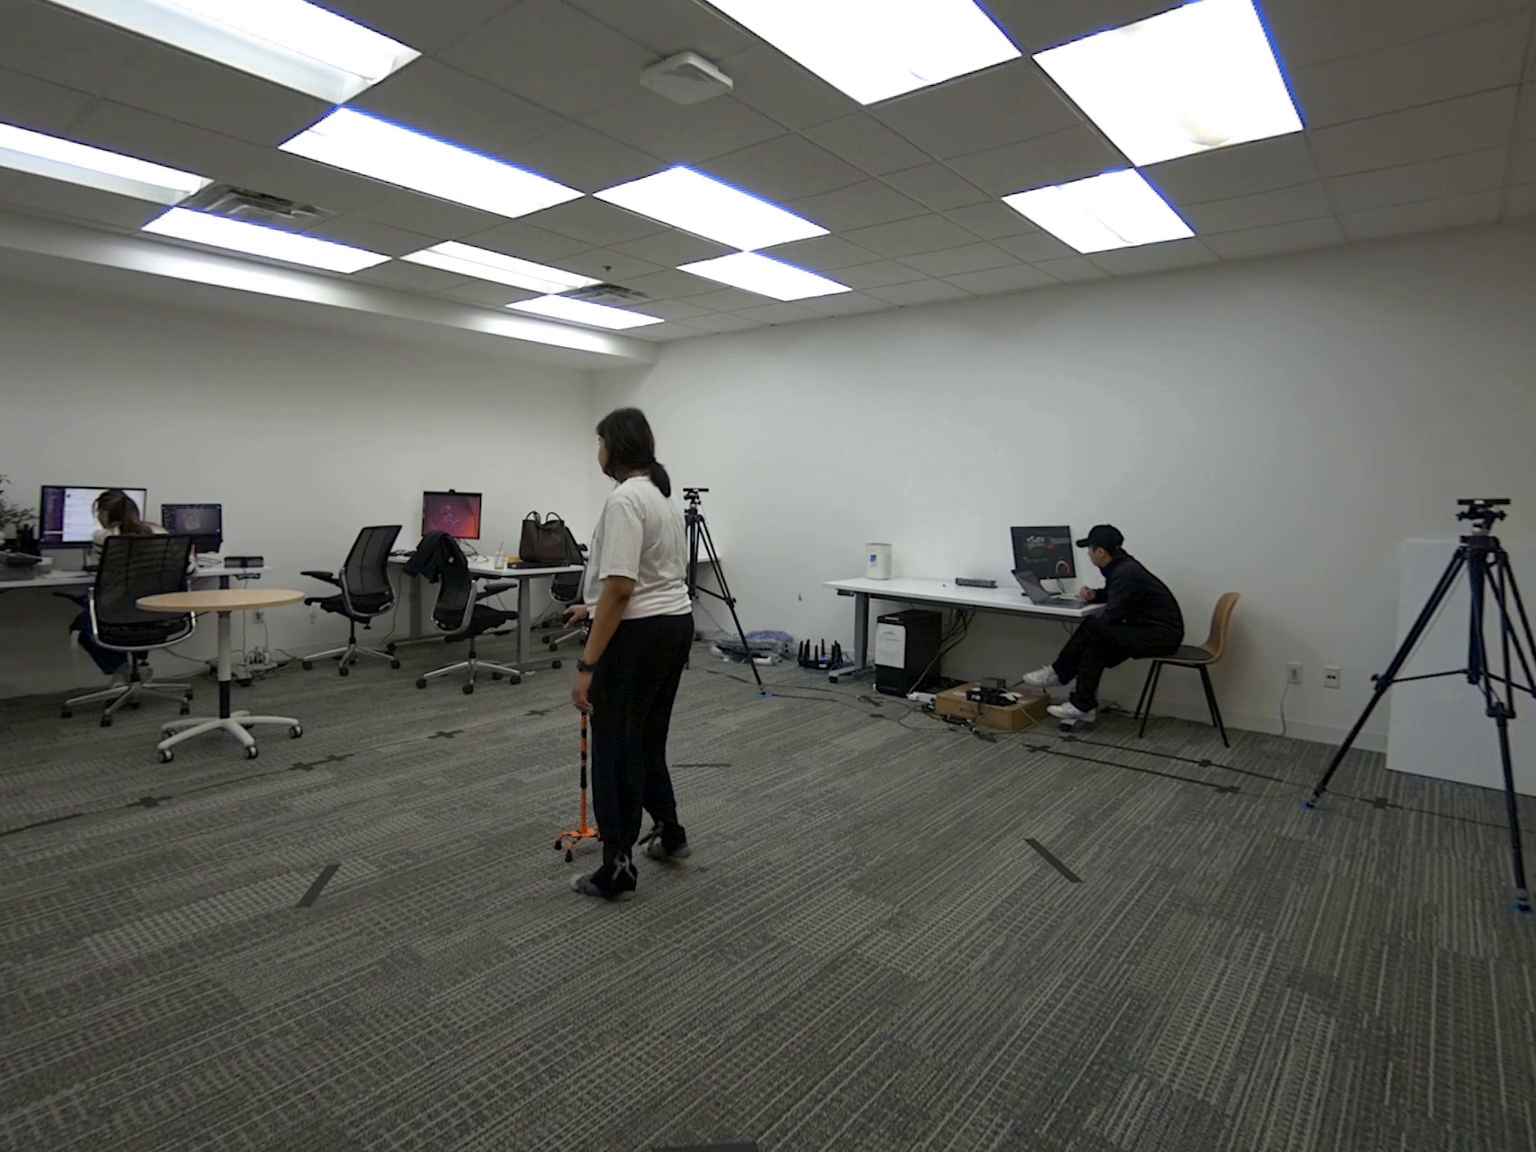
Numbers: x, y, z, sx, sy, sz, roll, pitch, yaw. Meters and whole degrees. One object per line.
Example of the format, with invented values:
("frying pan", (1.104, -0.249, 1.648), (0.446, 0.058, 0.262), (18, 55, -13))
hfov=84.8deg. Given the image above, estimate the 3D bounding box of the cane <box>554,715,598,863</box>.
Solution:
("cane", (-0.704, 0.591, 3.238), (0.200, 0.905, 0.156), (-1, 3, -34))
